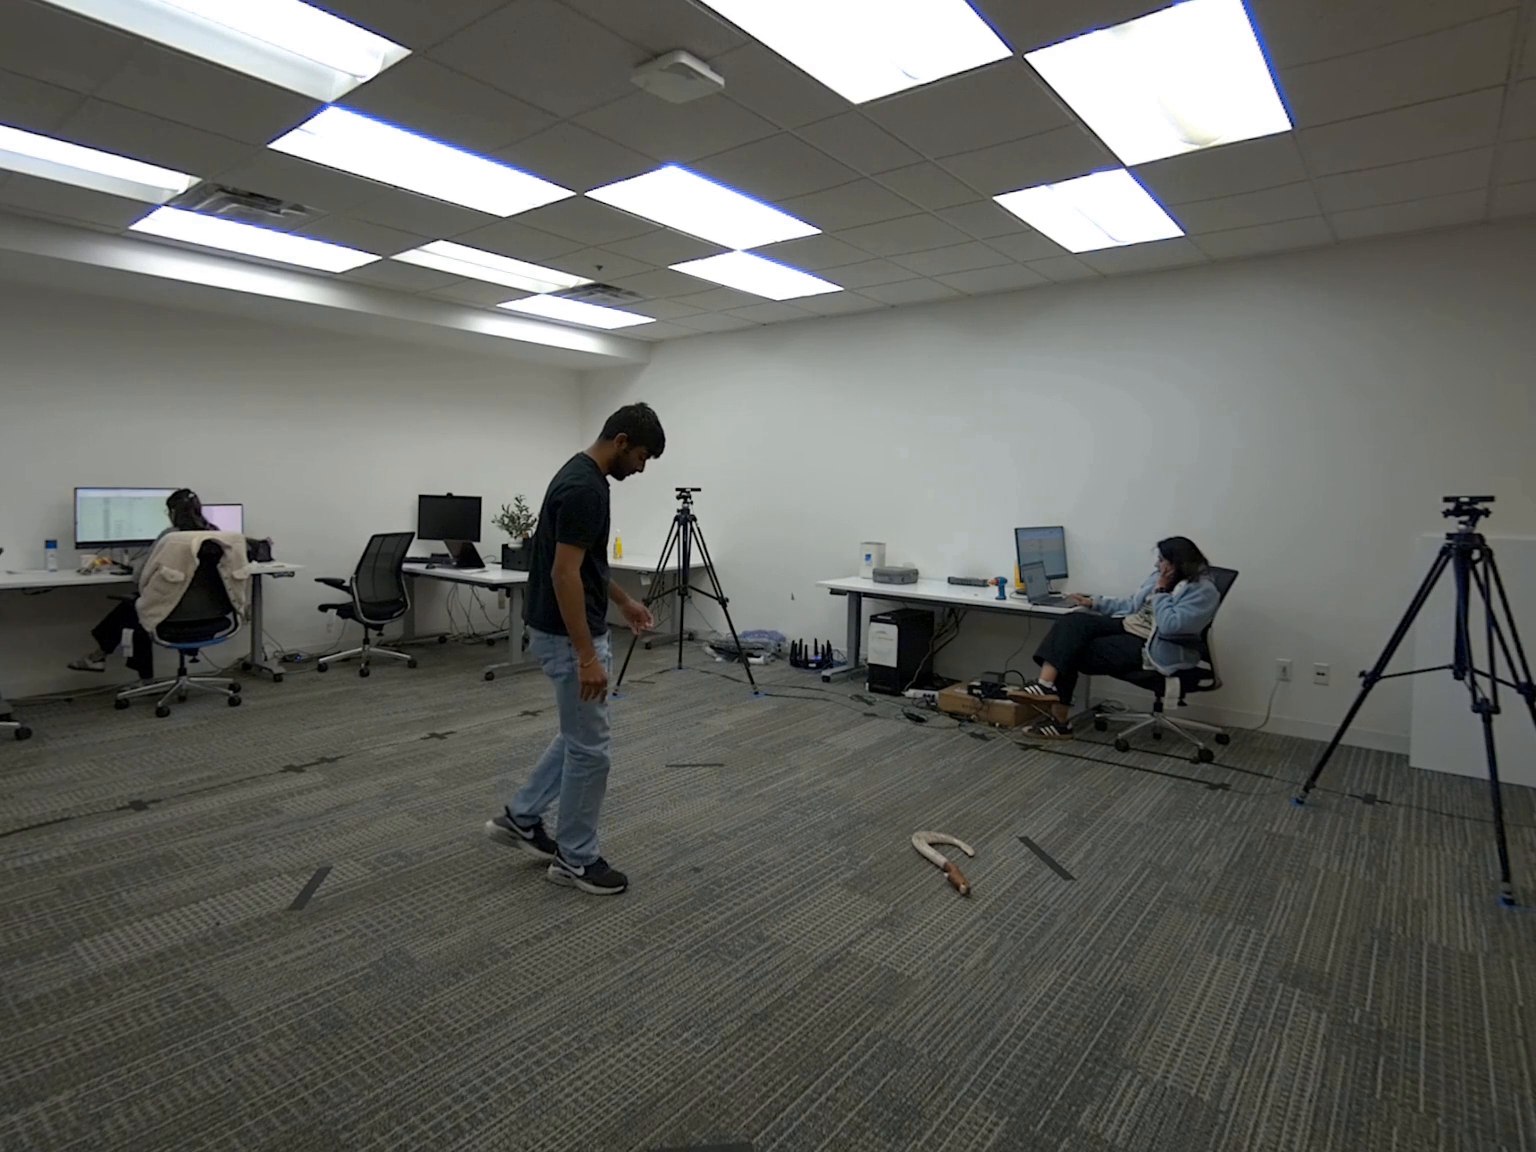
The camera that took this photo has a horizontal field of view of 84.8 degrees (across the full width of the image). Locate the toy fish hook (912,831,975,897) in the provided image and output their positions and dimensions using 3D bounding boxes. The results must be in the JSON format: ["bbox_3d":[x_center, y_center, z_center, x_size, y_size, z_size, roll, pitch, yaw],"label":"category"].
[{"bbox_3d":[0.693,1.060,3.175,0.223,0.048,0.513,0,6,-8],"label":"toy fish hook"}]
